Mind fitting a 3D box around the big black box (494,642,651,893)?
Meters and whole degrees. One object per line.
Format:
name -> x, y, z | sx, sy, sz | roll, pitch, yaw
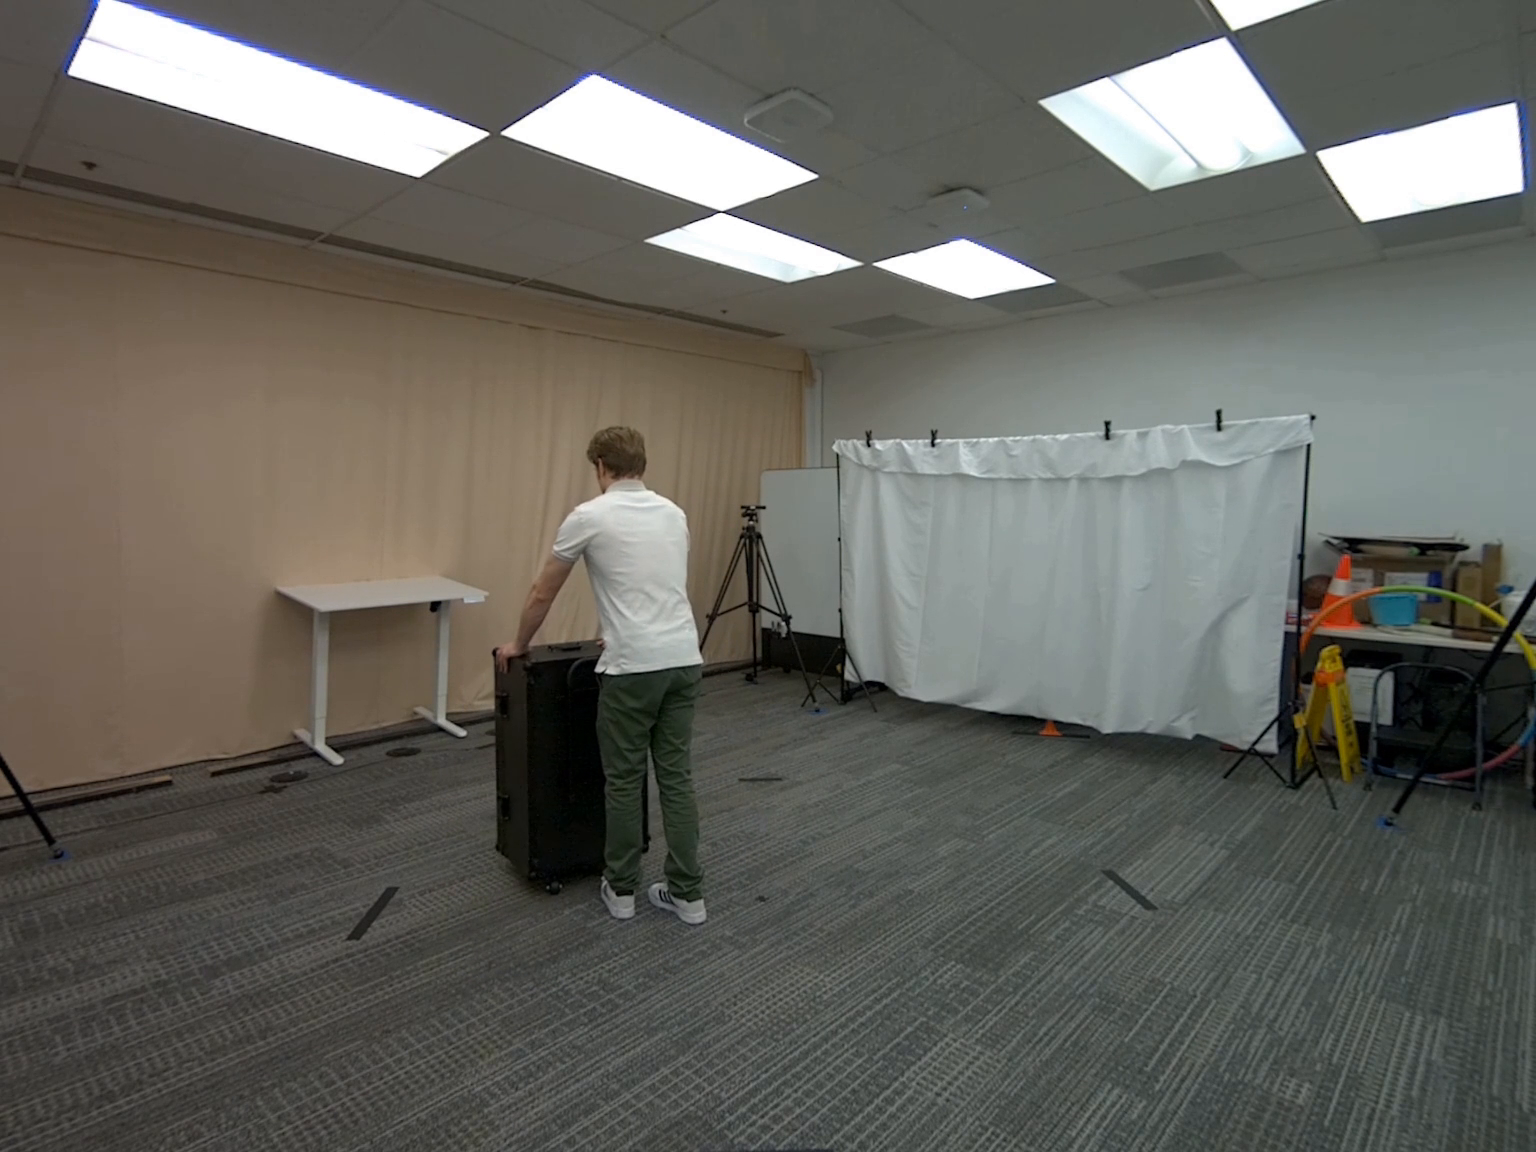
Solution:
big black box -> -0.749, 0.708, 3.230 | 0.508, 0.867, 0.397 | -3, 4, -35
